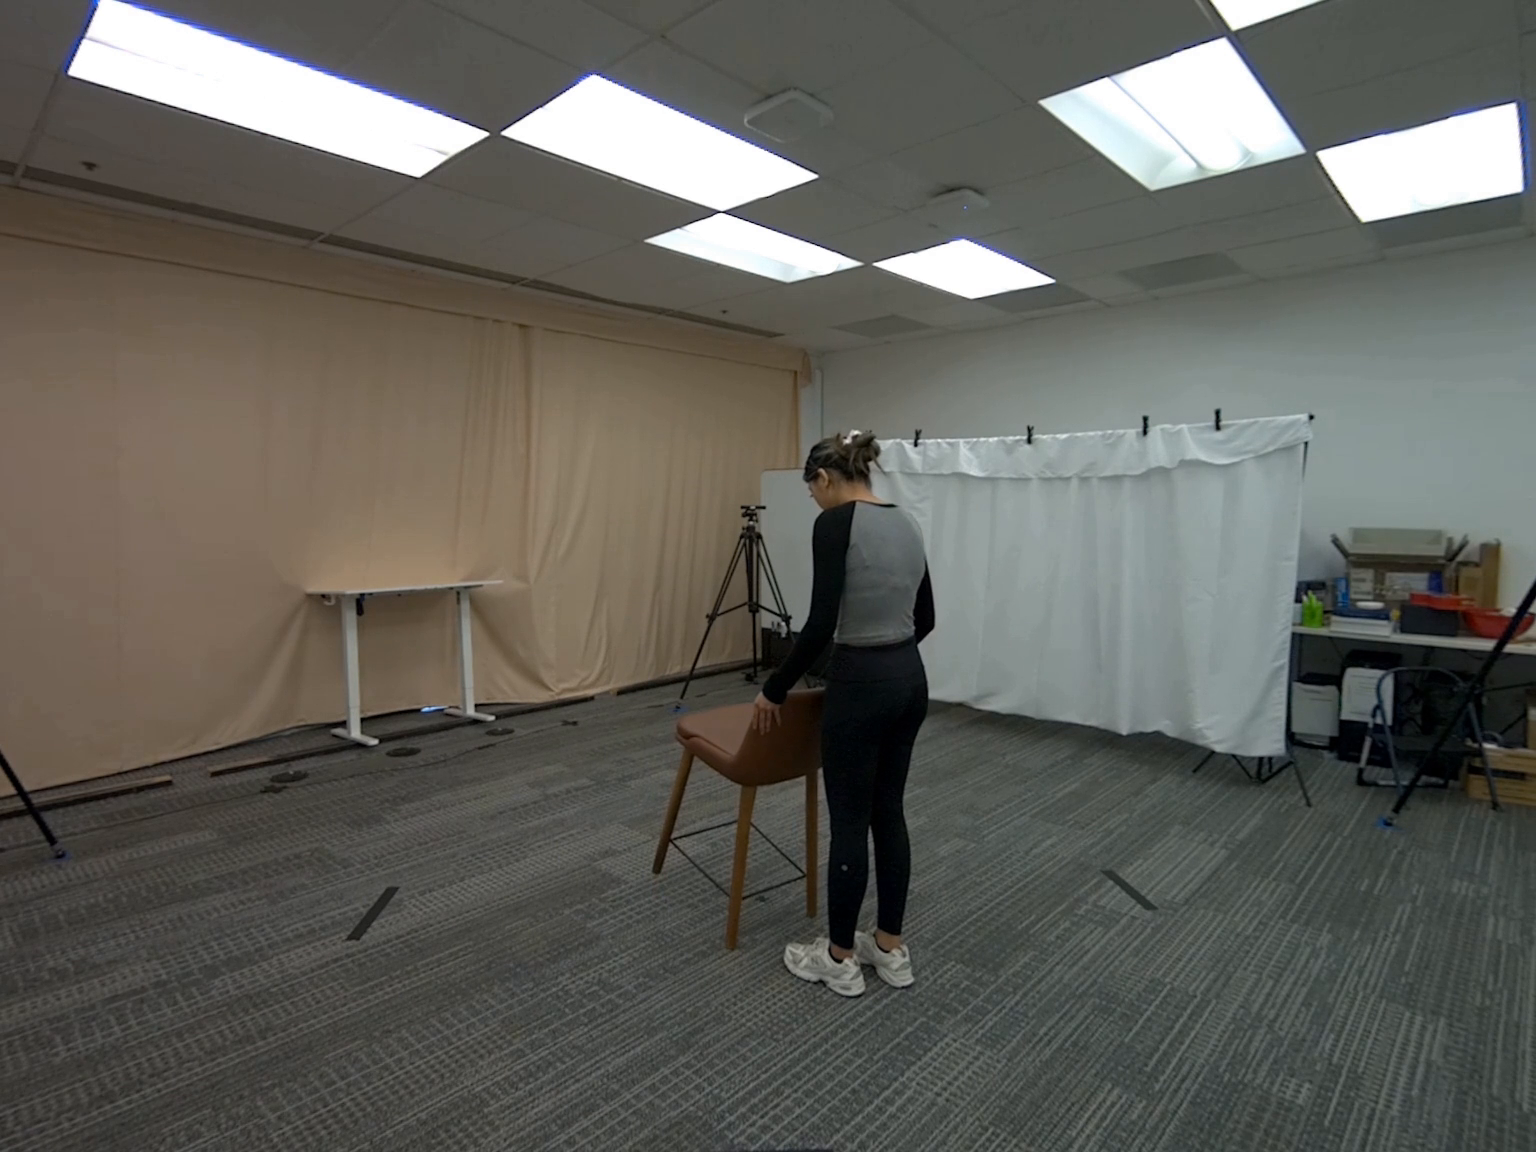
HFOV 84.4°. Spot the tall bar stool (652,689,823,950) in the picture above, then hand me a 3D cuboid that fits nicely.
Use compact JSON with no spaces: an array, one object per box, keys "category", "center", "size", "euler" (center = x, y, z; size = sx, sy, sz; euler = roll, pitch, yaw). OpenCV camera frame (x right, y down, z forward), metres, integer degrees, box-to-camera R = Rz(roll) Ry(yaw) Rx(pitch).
[{"category":"tall bar stool","center":[-0.045,0.687,2.809],"size":[0.443,0.884,0.485],"euler":[-2,19,-38]}]
